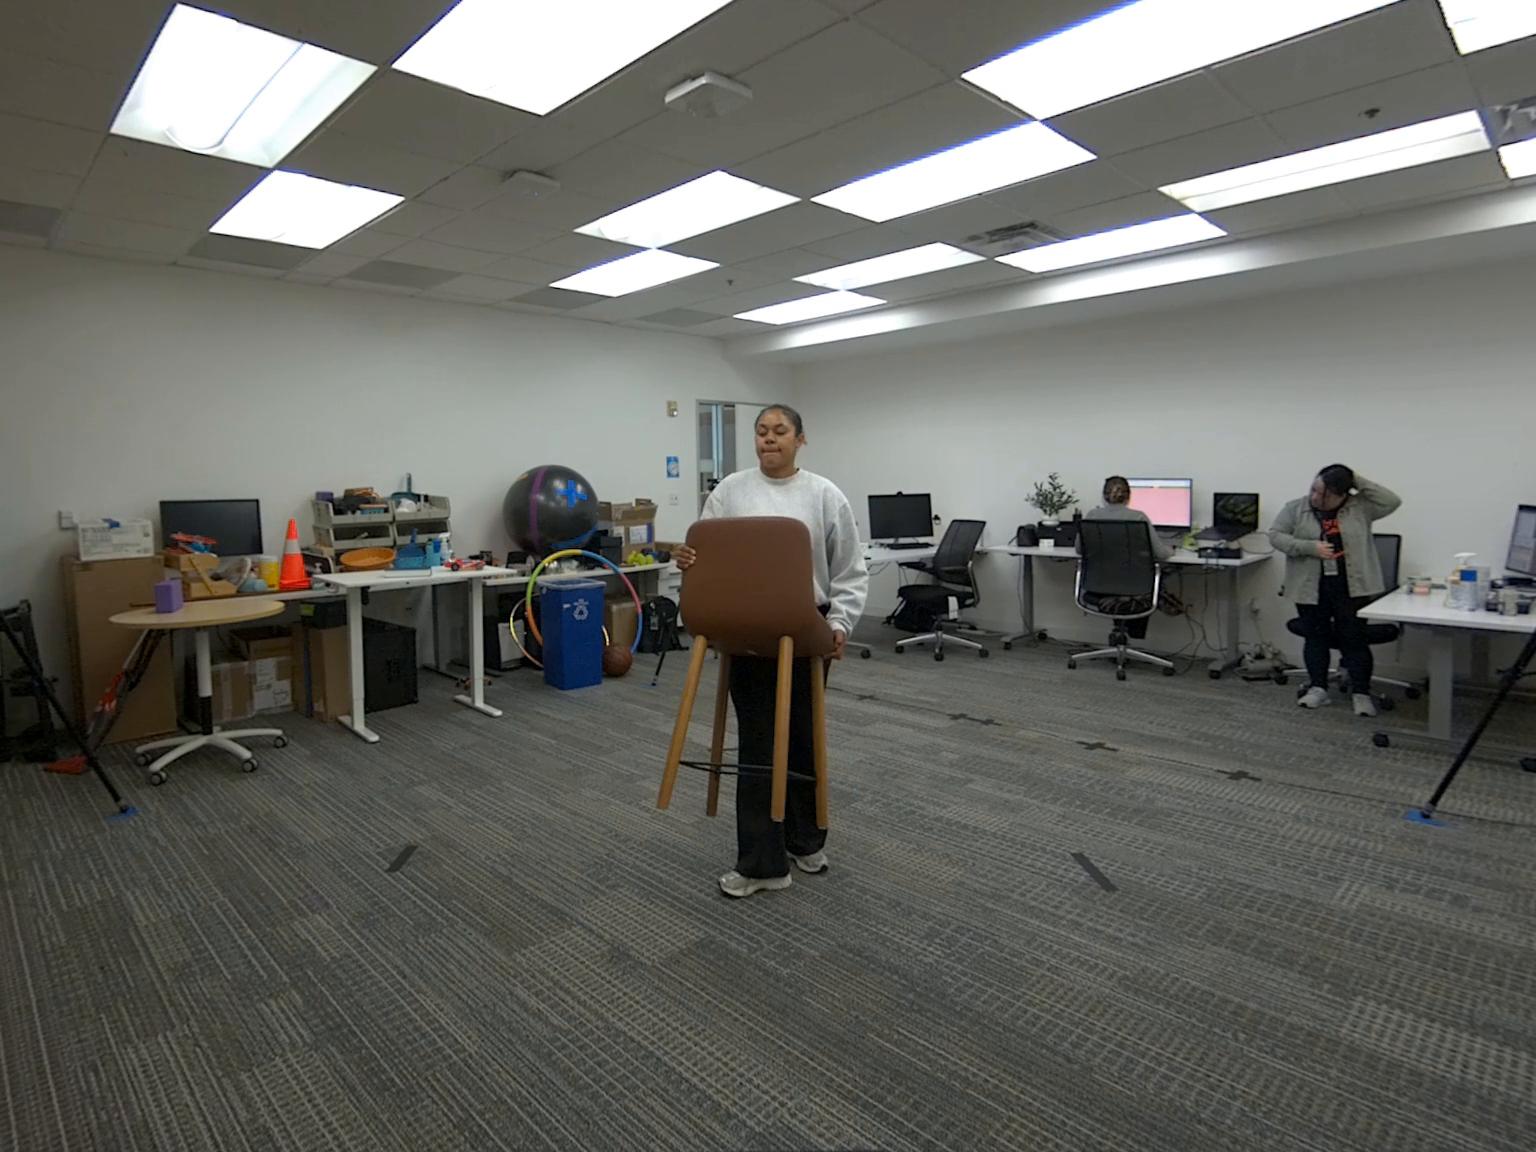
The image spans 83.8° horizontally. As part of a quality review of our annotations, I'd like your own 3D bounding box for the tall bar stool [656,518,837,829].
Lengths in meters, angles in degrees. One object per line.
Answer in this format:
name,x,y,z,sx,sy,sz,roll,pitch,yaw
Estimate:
tall bar stool,-0.043,0.311,2.689,0.465,0.902,0.452,-3,-18,21
